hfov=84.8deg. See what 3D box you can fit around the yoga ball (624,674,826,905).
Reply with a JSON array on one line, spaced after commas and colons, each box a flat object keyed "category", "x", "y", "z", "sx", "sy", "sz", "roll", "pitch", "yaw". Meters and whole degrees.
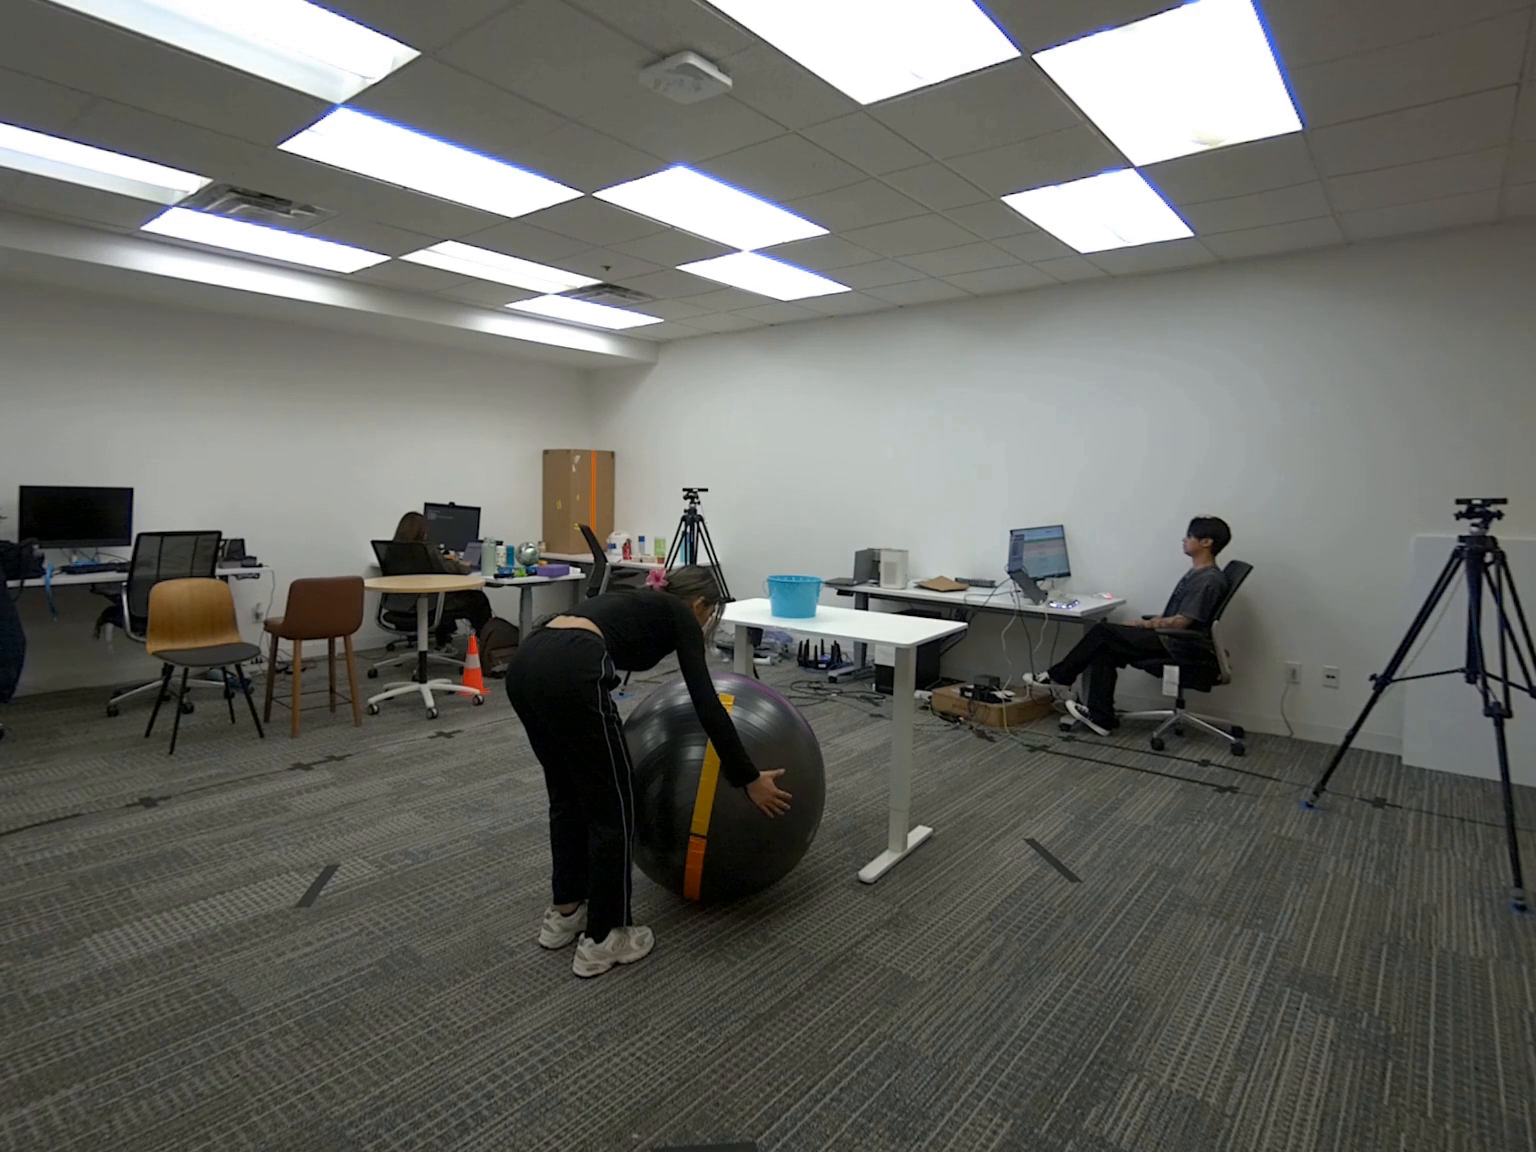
[{"category": "yoga ball", "x": -0.180, "y": 0.719, "z": 2.945, "sx": 0.757, "sy": 0.756, "sz": 0.761, "roll": 1, "pitch": 4, "yaw": -2}]
